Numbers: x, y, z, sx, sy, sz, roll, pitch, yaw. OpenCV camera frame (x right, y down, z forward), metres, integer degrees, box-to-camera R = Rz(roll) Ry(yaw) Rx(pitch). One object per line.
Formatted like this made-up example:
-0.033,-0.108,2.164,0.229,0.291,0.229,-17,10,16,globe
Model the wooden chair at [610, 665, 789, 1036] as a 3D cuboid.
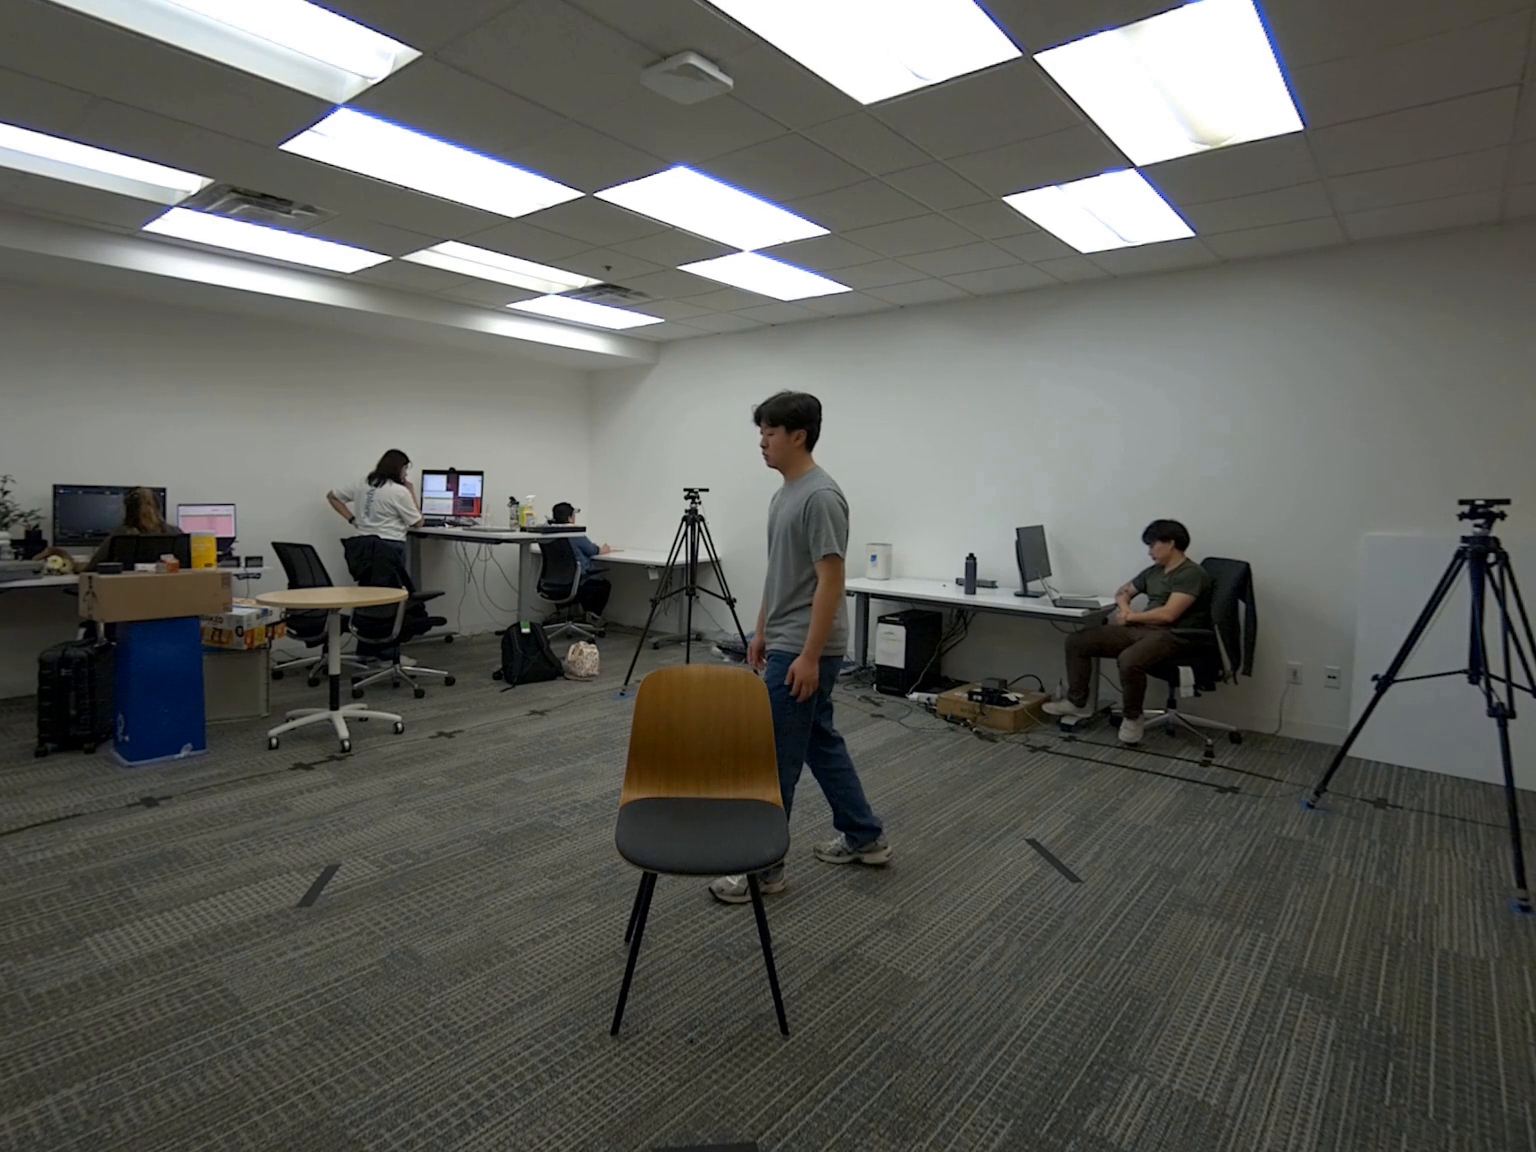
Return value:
-0.185,0.722,2.347,0.476,0.877,0.525,1,0,-5,wooden chair
